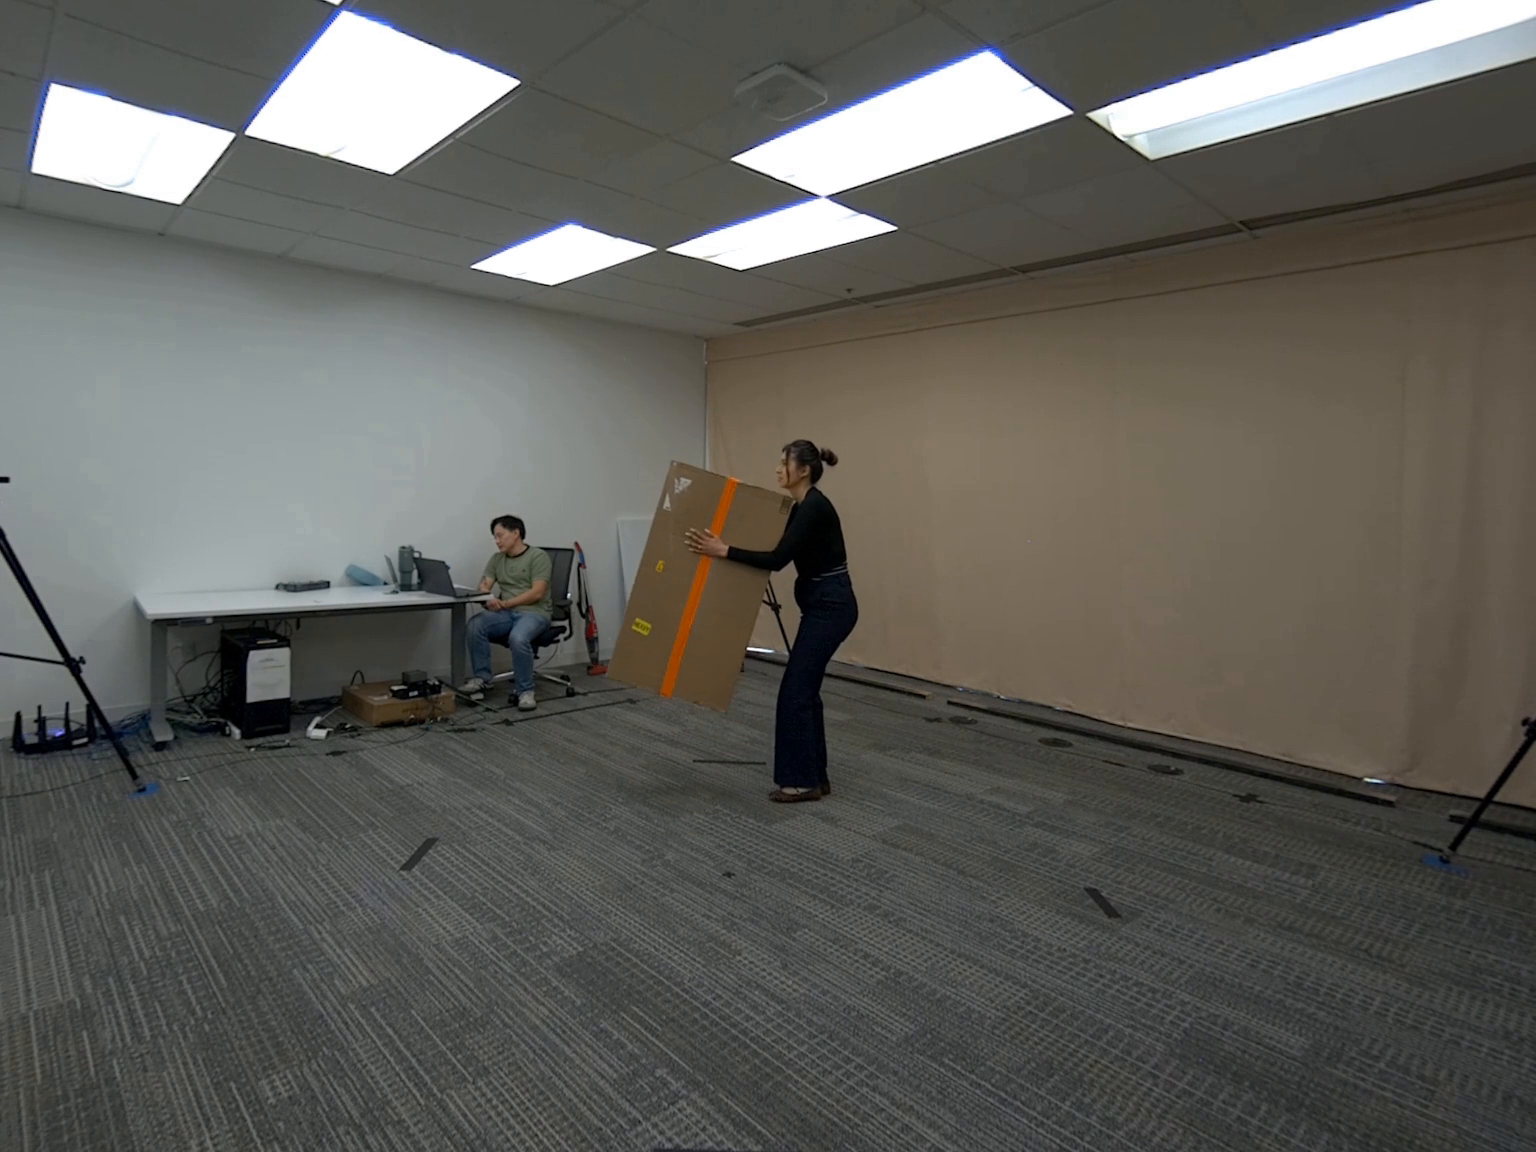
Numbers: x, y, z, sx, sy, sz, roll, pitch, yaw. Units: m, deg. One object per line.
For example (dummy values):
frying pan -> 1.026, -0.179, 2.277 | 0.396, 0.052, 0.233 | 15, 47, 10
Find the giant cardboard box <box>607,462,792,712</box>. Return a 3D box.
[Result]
giant cardboard box -> -0.332, 0.043, 3.963 | 0.576, 1.024, 0.428 | 17, 2, -3
